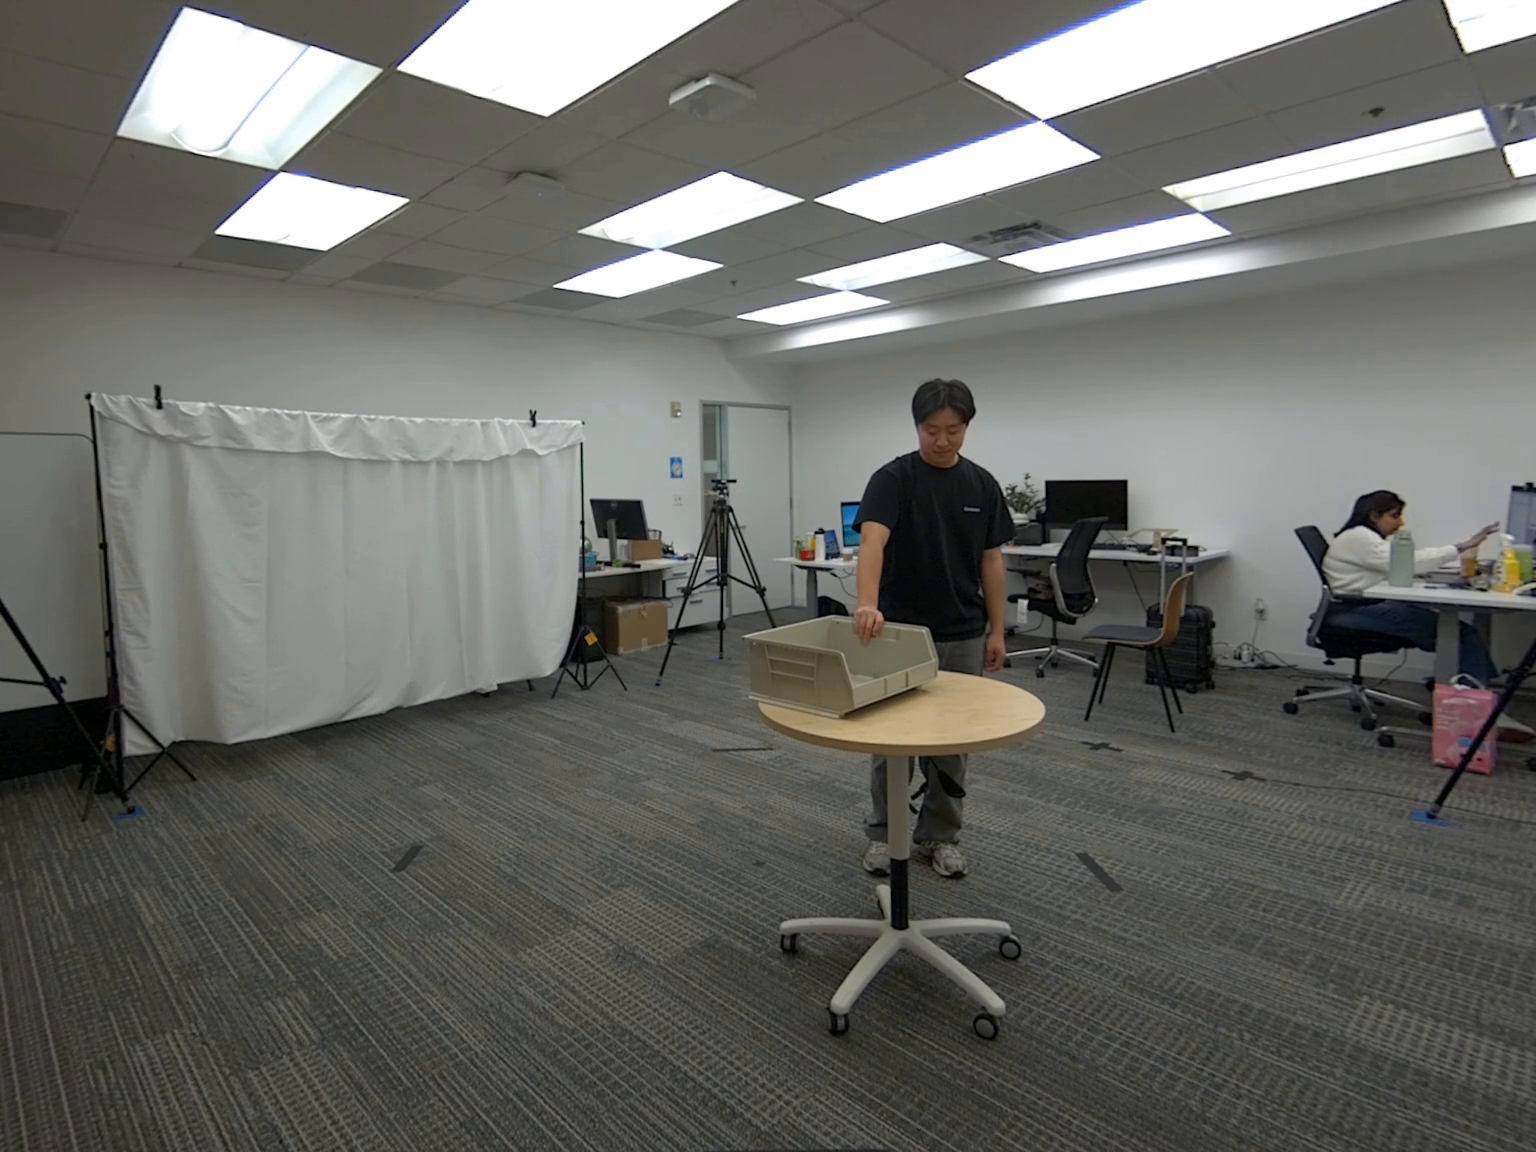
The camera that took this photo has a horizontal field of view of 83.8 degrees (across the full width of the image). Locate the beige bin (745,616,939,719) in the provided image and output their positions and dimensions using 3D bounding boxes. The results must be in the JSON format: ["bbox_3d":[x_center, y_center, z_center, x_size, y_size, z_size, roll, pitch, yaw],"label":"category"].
[{"bbox_3d":[0.210,0.250,2.420,0.389,0.188,0.412,3,8,44],"label":"beige bin"}]
